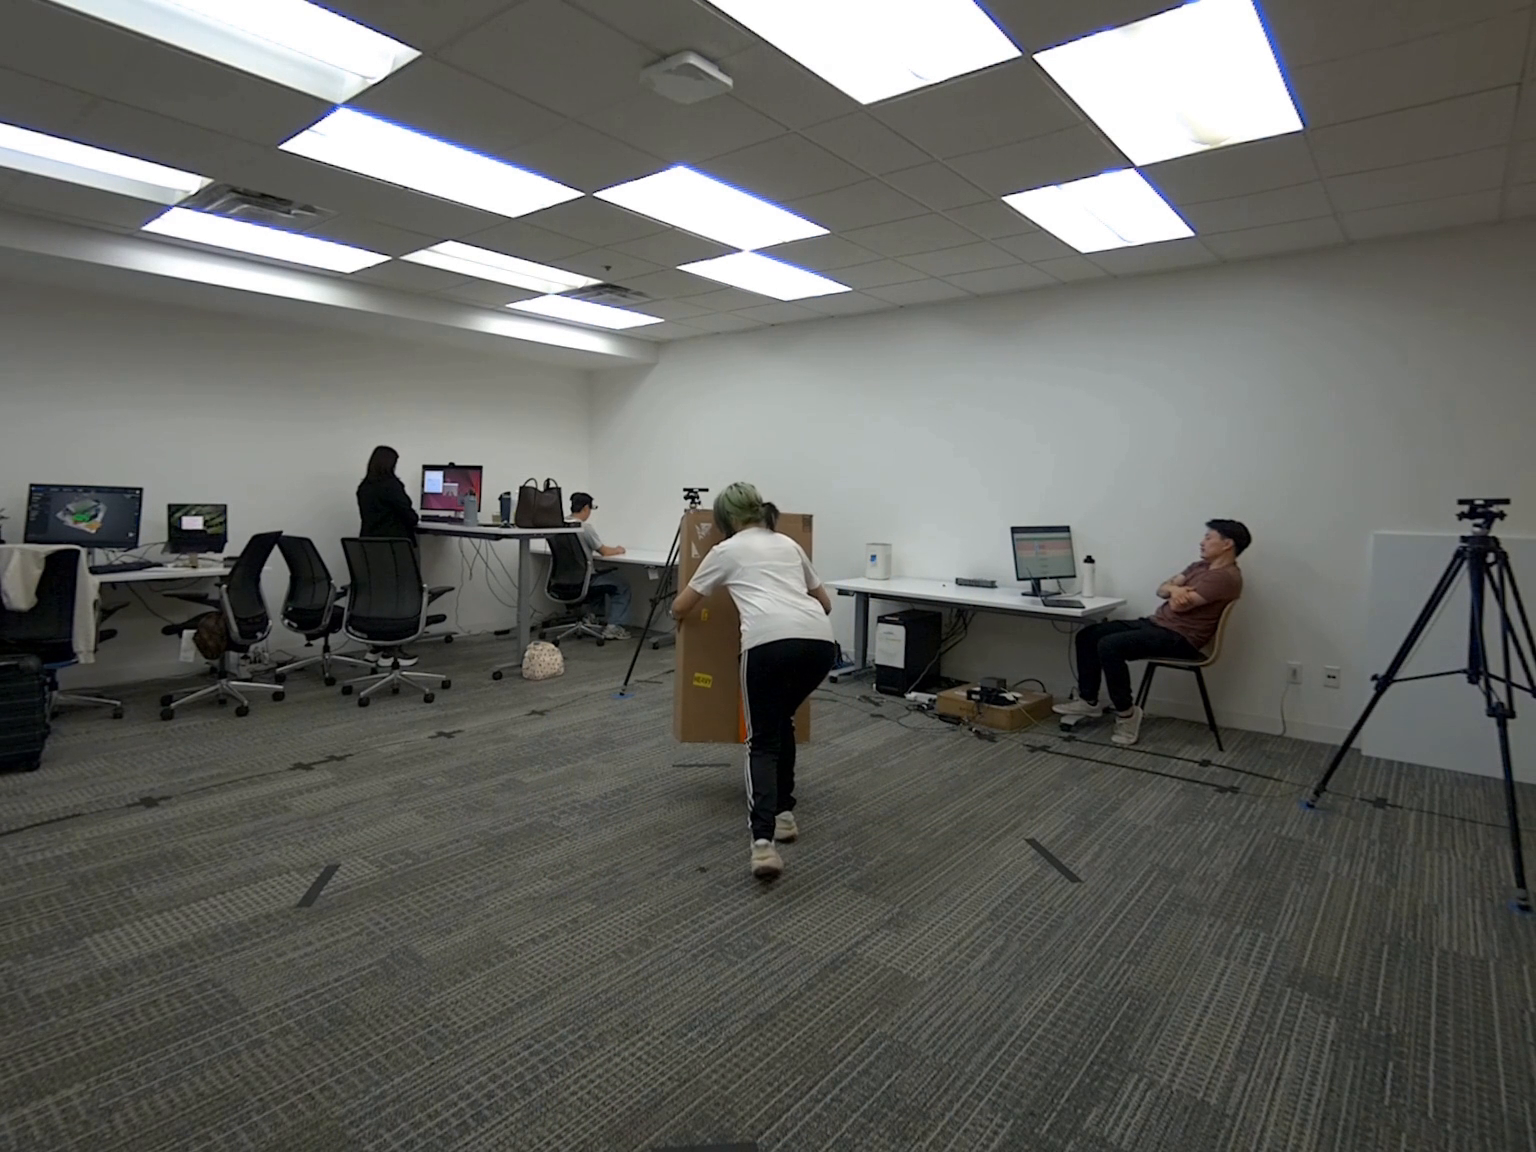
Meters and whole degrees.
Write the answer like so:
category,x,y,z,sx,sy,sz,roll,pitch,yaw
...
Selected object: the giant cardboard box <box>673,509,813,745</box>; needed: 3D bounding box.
category,x,y,z,sx,sy,sz,roll,pitch,yaw
giant cardboard box,-0.131,0.236,3.954,0.579,1.035,0.447,2,-8,-8
